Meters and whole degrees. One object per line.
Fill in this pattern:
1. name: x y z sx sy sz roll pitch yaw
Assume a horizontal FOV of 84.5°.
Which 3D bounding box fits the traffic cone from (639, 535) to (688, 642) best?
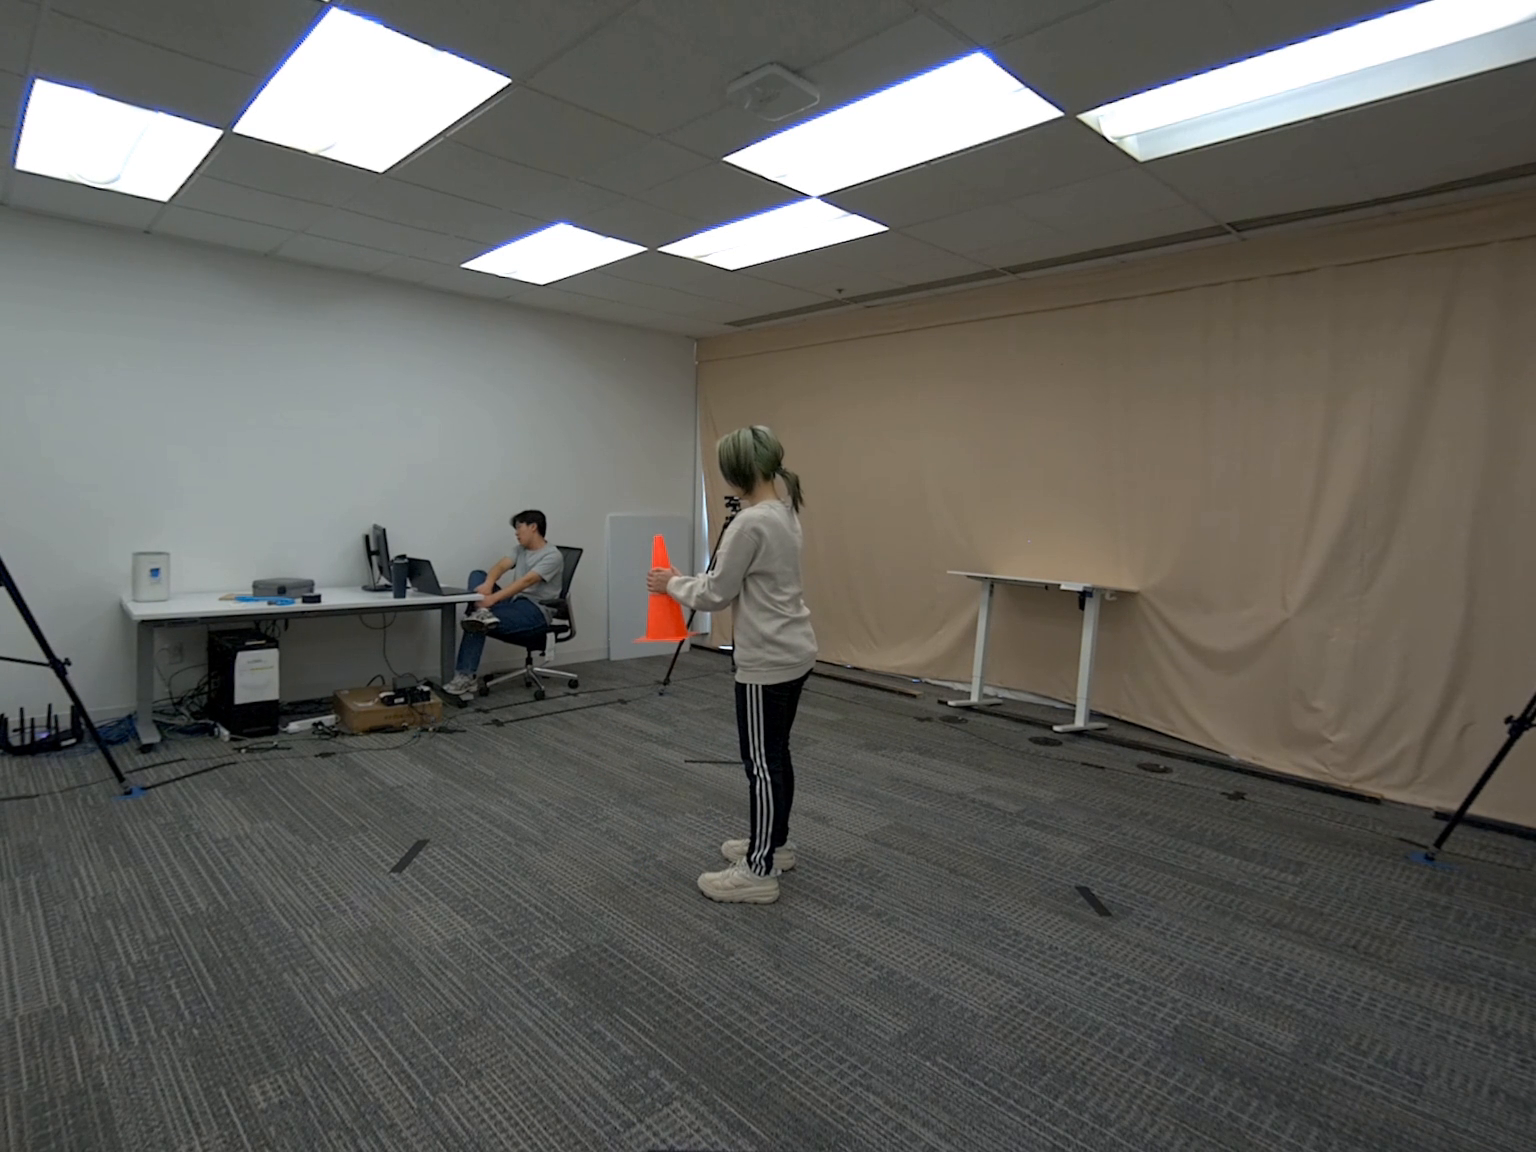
1. traffic cone: -0.391 0.043 3.152 0.207 0.383 0.202 -3 2 22
